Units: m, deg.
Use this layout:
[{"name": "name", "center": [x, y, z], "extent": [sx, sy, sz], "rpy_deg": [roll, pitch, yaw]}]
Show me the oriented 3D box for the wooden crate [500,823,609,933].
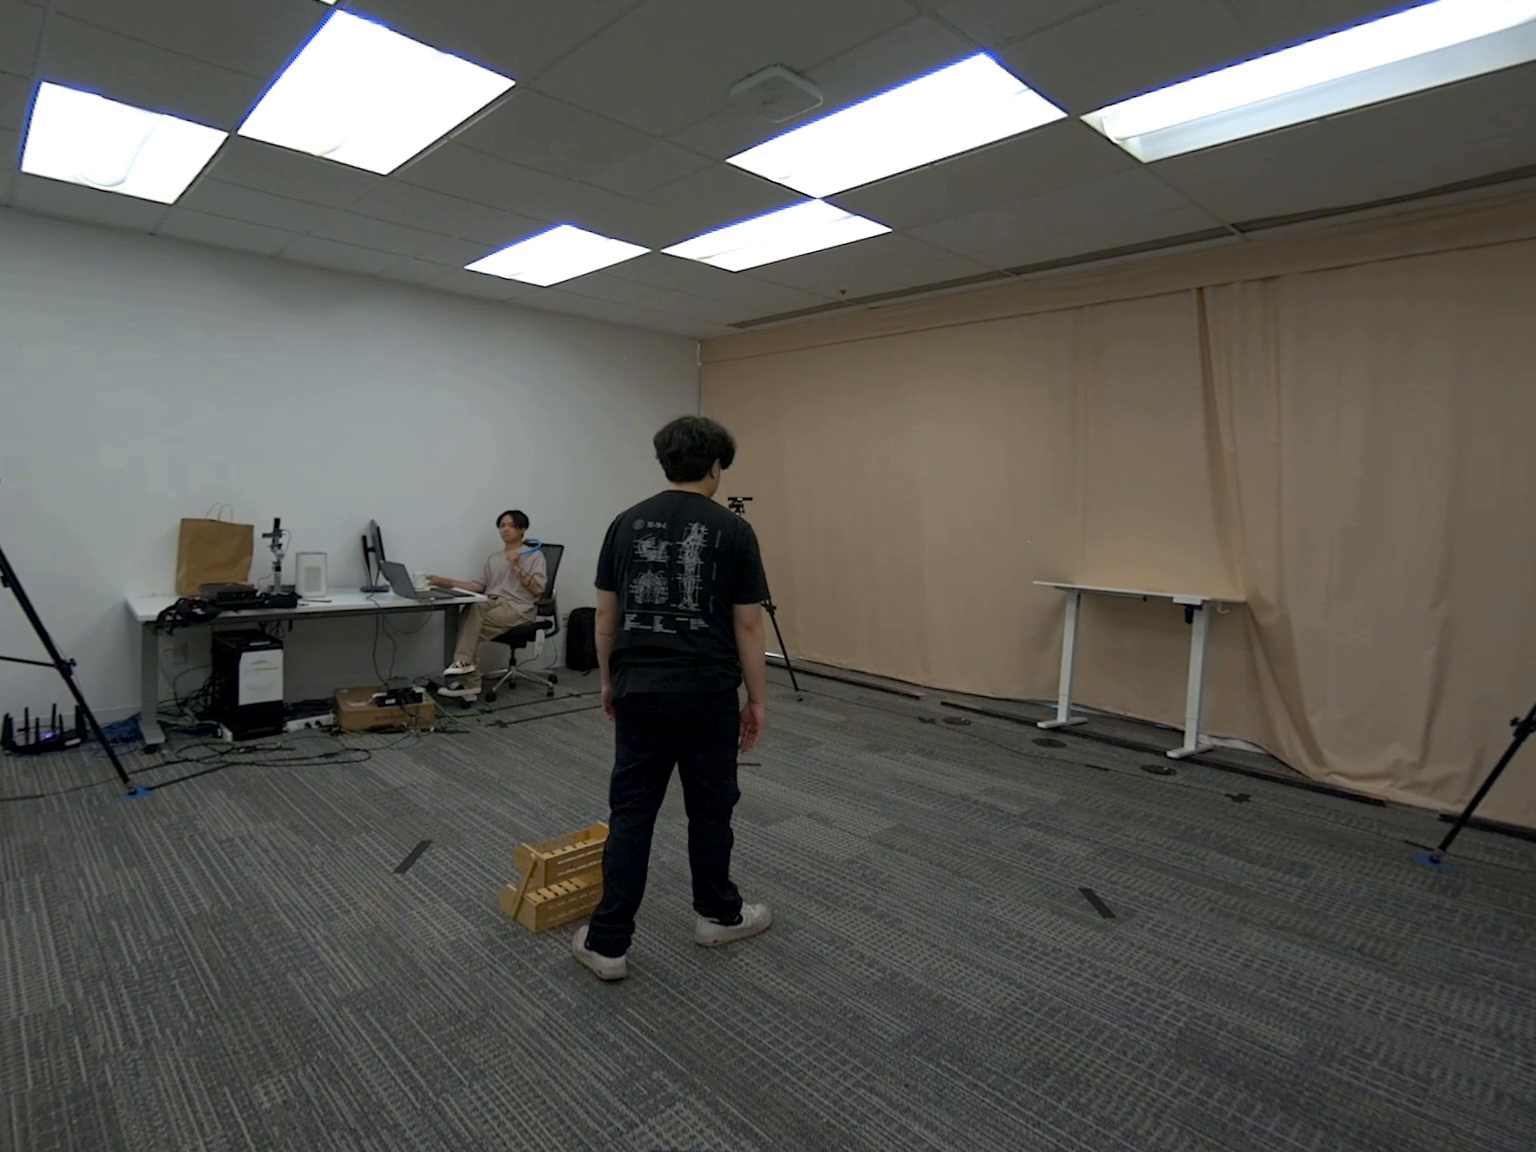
[{"name": "wooden crate", "center": [-0.702, 0.981, 2.832], "extent": [0.317, 0.272, 0.310], "rpy_deg": [-3, 7, -45]}]
